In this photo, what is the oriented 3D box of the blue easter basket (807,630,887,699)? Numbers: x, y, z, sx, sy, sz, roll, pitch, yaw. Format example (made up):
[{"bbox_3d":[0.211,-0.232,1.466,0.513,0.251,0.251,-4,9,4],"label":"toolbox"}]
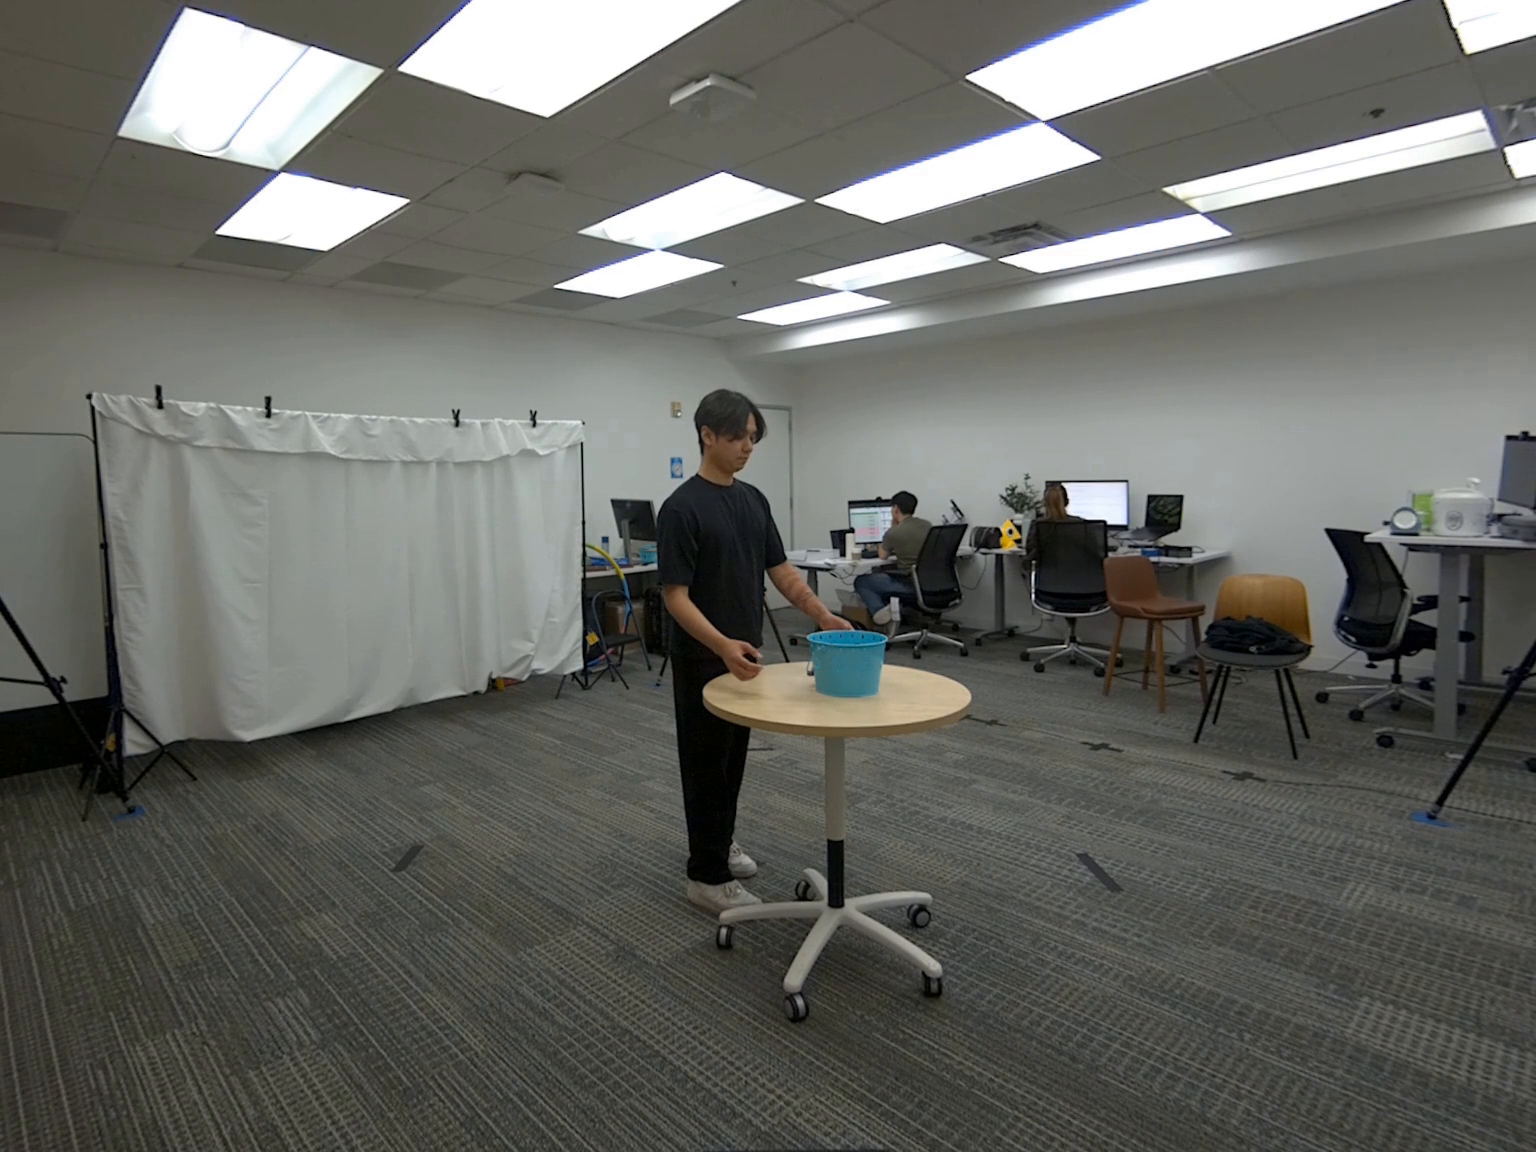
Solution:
[{"bbox_3d":[0.234,0.255,2.477,0.243,0.155,0.245,-1,6,-2],"label":"blue easter basket"}]
